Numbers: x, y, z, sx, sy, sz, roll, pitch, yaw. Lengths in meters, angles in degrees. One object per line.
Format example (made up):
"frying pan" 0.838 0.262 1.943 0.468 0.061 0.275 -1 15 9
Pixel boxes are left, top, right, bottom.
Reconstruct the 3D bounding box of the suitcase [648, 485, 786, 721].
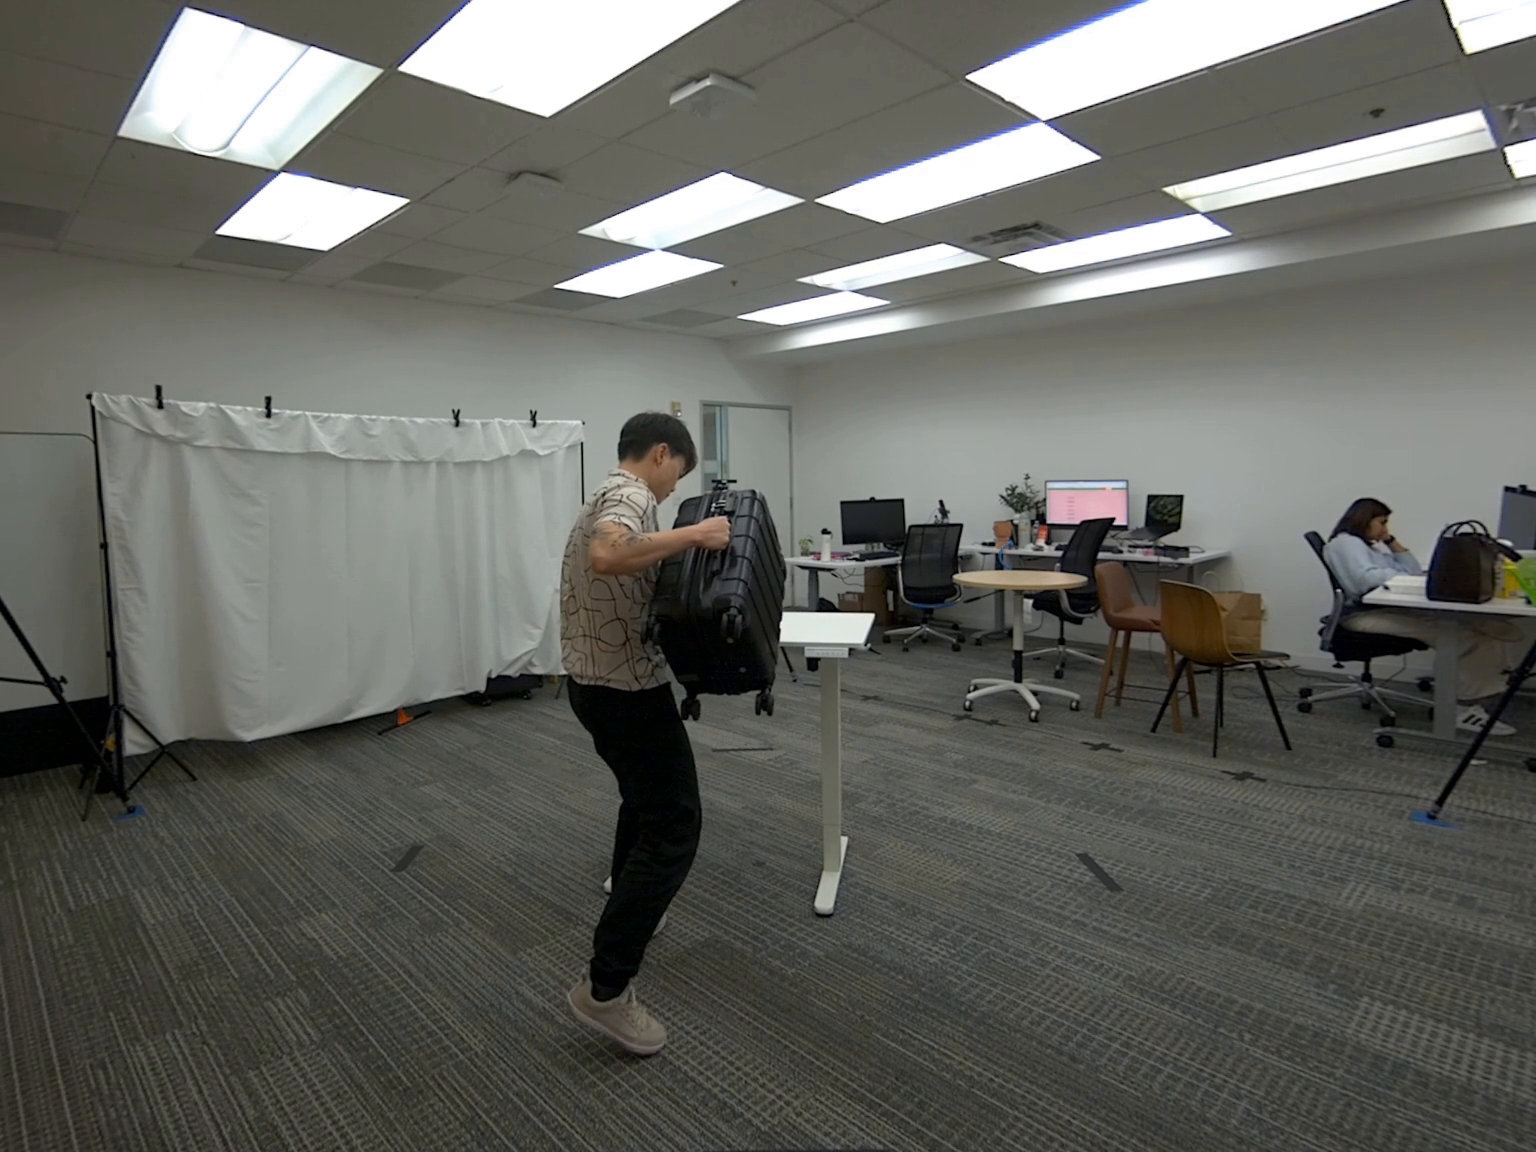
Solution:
"suitcase" -0.113 0.046 2.285 0.252 0.362 0.561 -8 42 15
